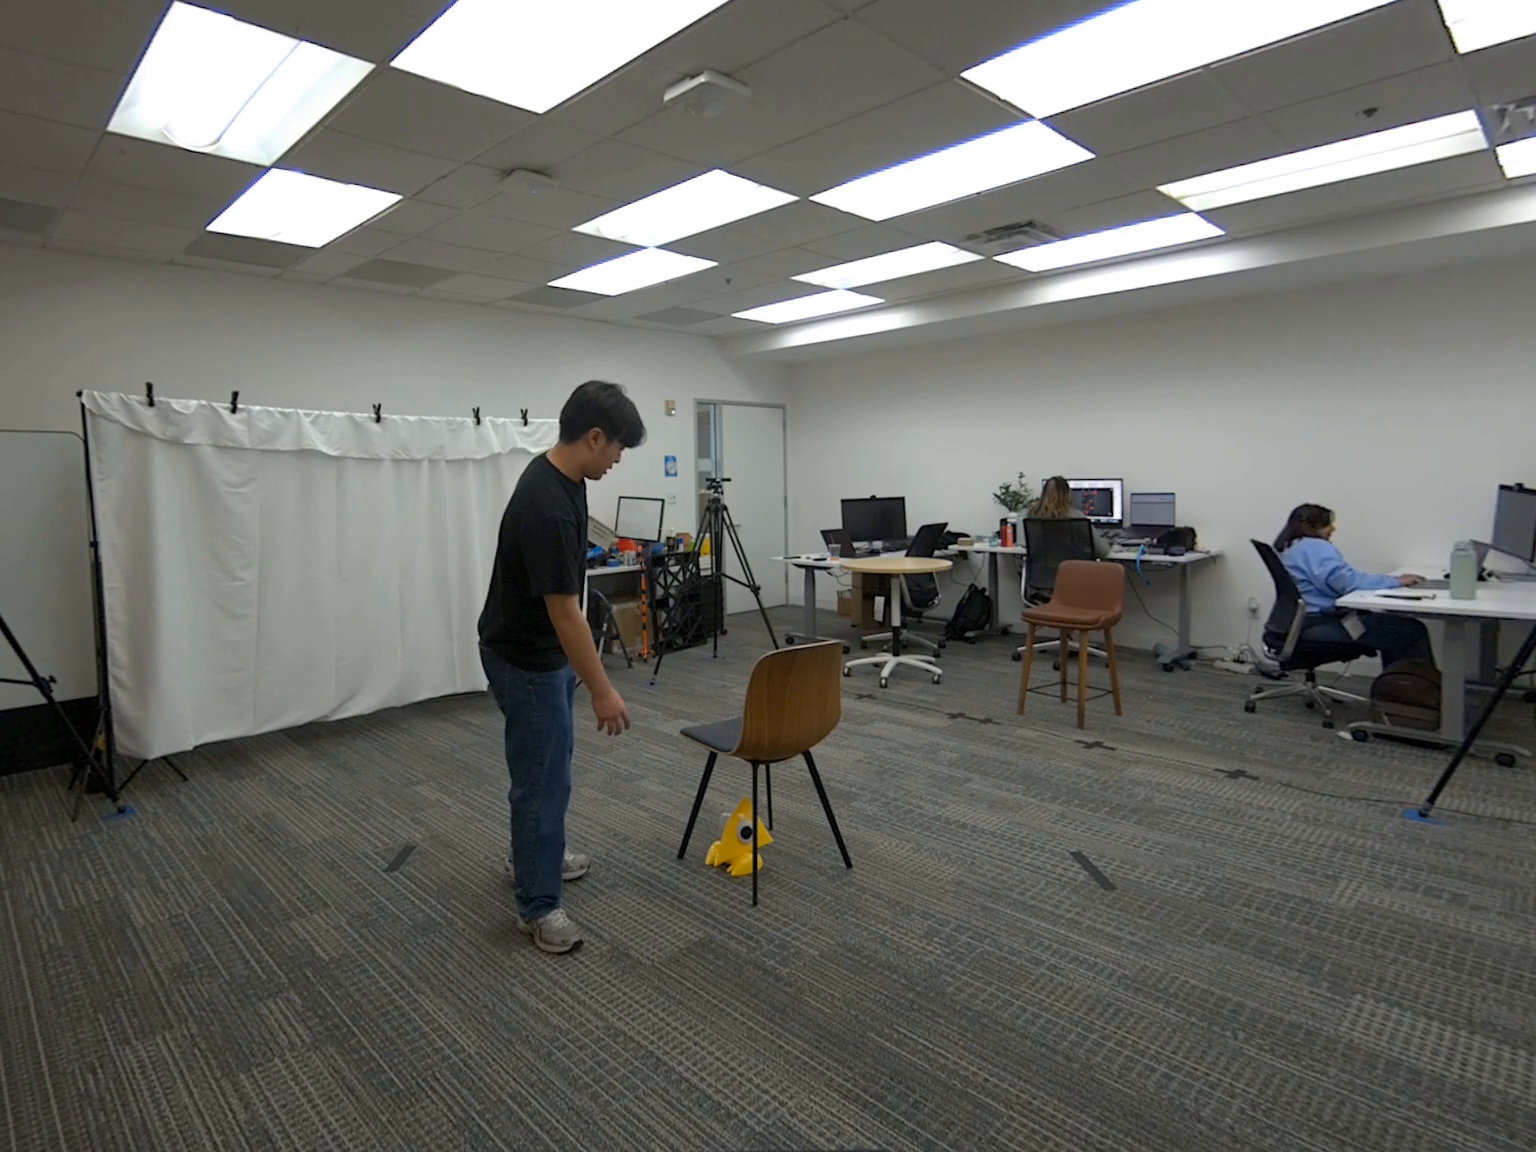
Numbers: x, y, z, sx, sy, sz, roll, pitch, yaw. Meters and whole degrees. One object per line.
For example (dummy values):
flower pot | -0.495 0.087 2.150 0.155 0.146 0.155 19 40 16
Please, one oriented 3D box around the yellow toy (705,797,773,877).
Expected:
yellow toy | -0.112 0.929 3.106 0.211 0.229 0.188 5 8 44
